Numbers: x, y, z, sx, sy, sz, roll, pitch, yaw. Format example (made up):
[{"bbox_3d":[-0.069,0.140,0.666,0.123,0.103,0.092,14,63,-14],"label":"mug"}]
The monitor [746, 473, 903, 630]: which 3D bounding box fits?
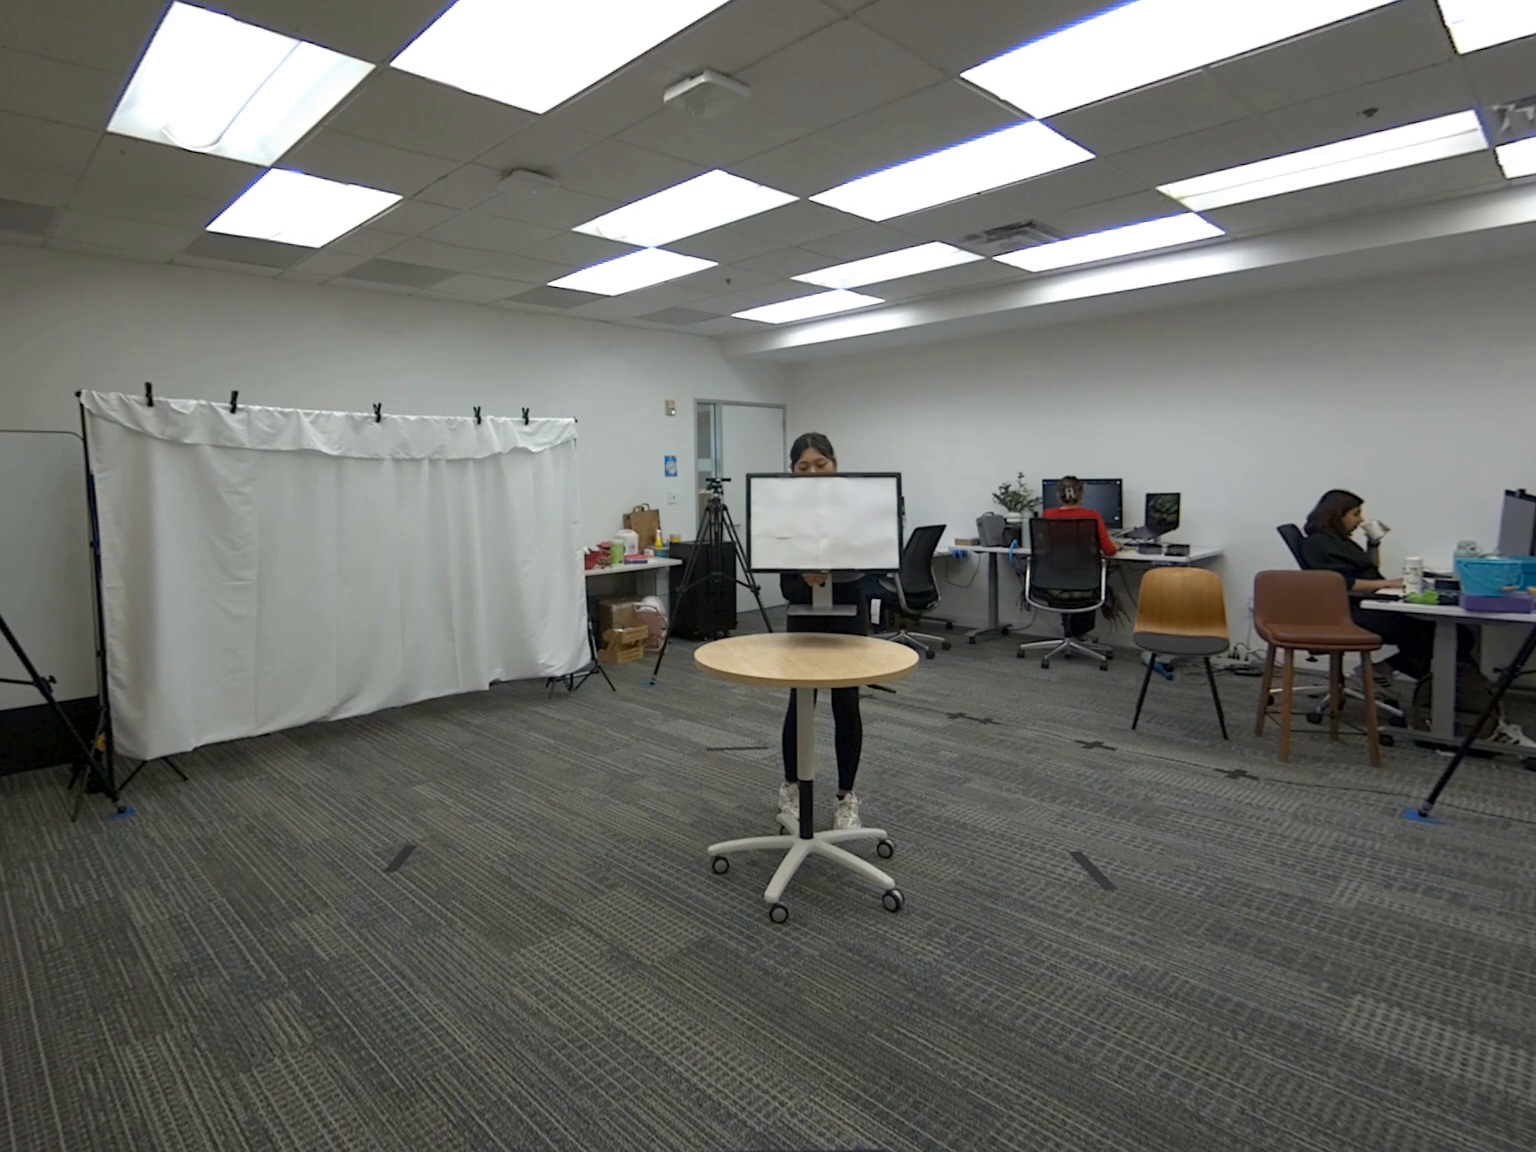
[{"bbox_3d":[0.189,-0.112,3.111,0.539,0.520,0.188,0,5,0],"label":"monitor"}]
